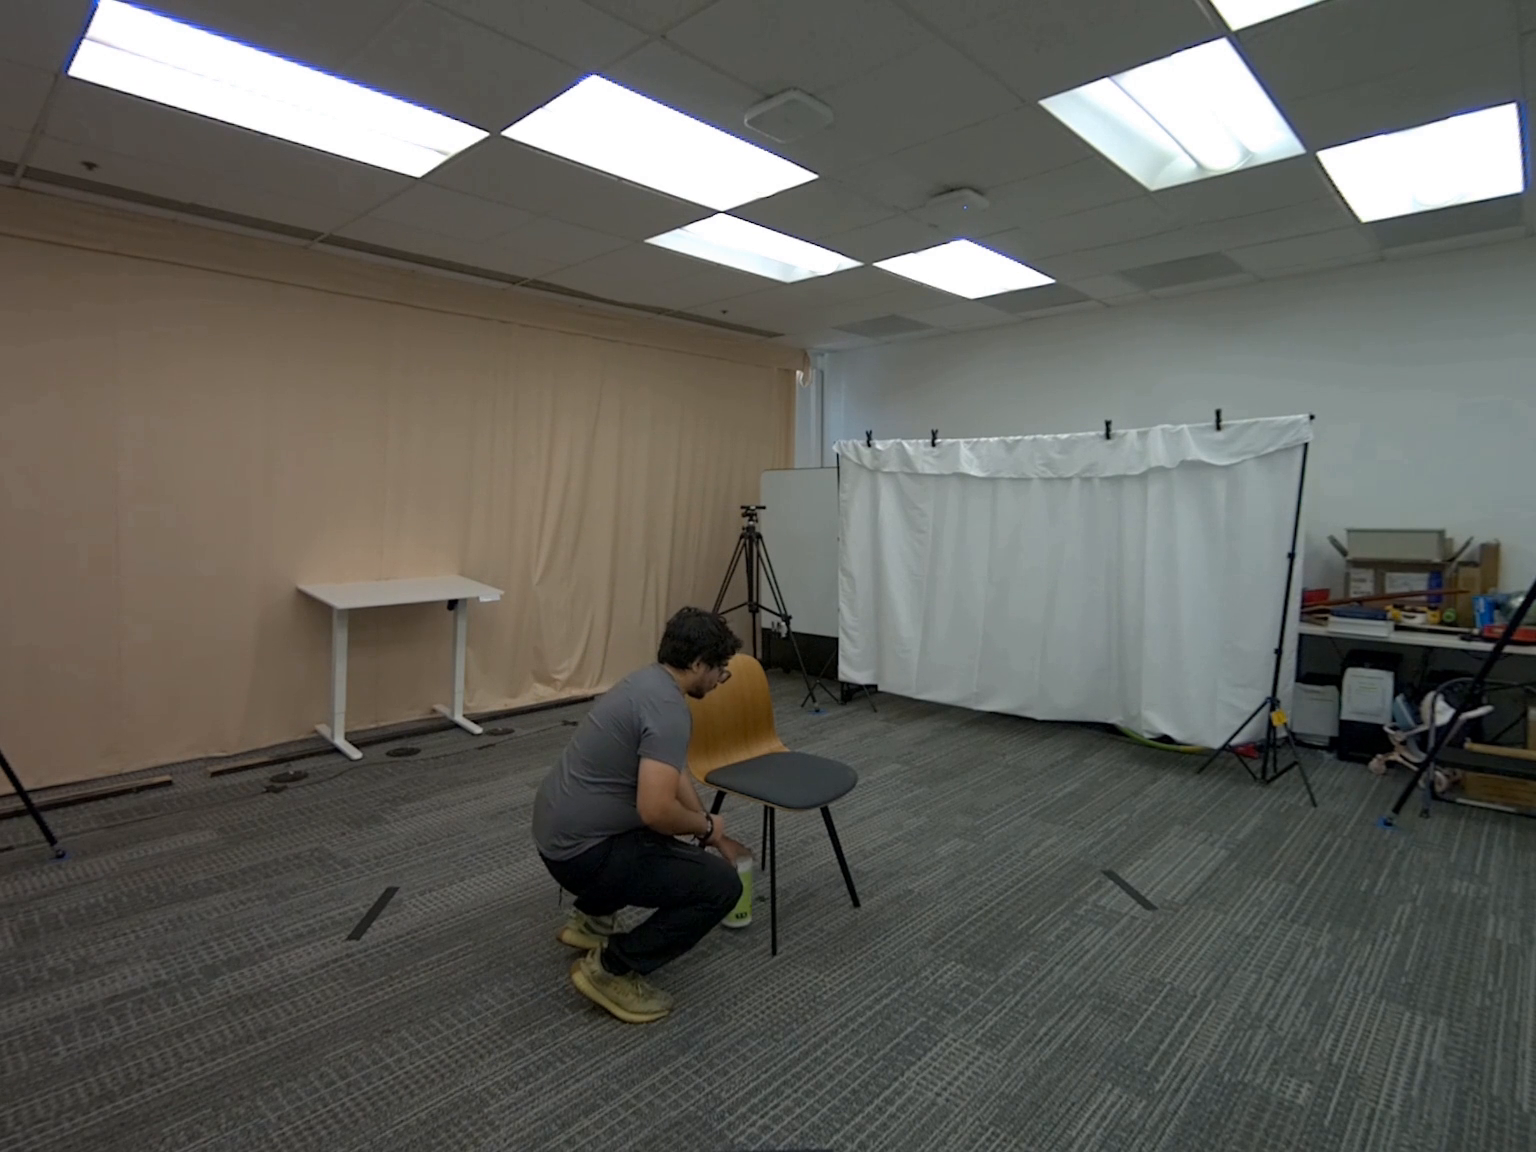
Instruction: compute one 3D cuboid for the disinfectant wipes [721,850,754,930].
[{"bbox_3d":[-0.104,1.042,2.773,0.118,0.216,0.118,-1,7,-2],"label":"disinfectant wipes"}]
